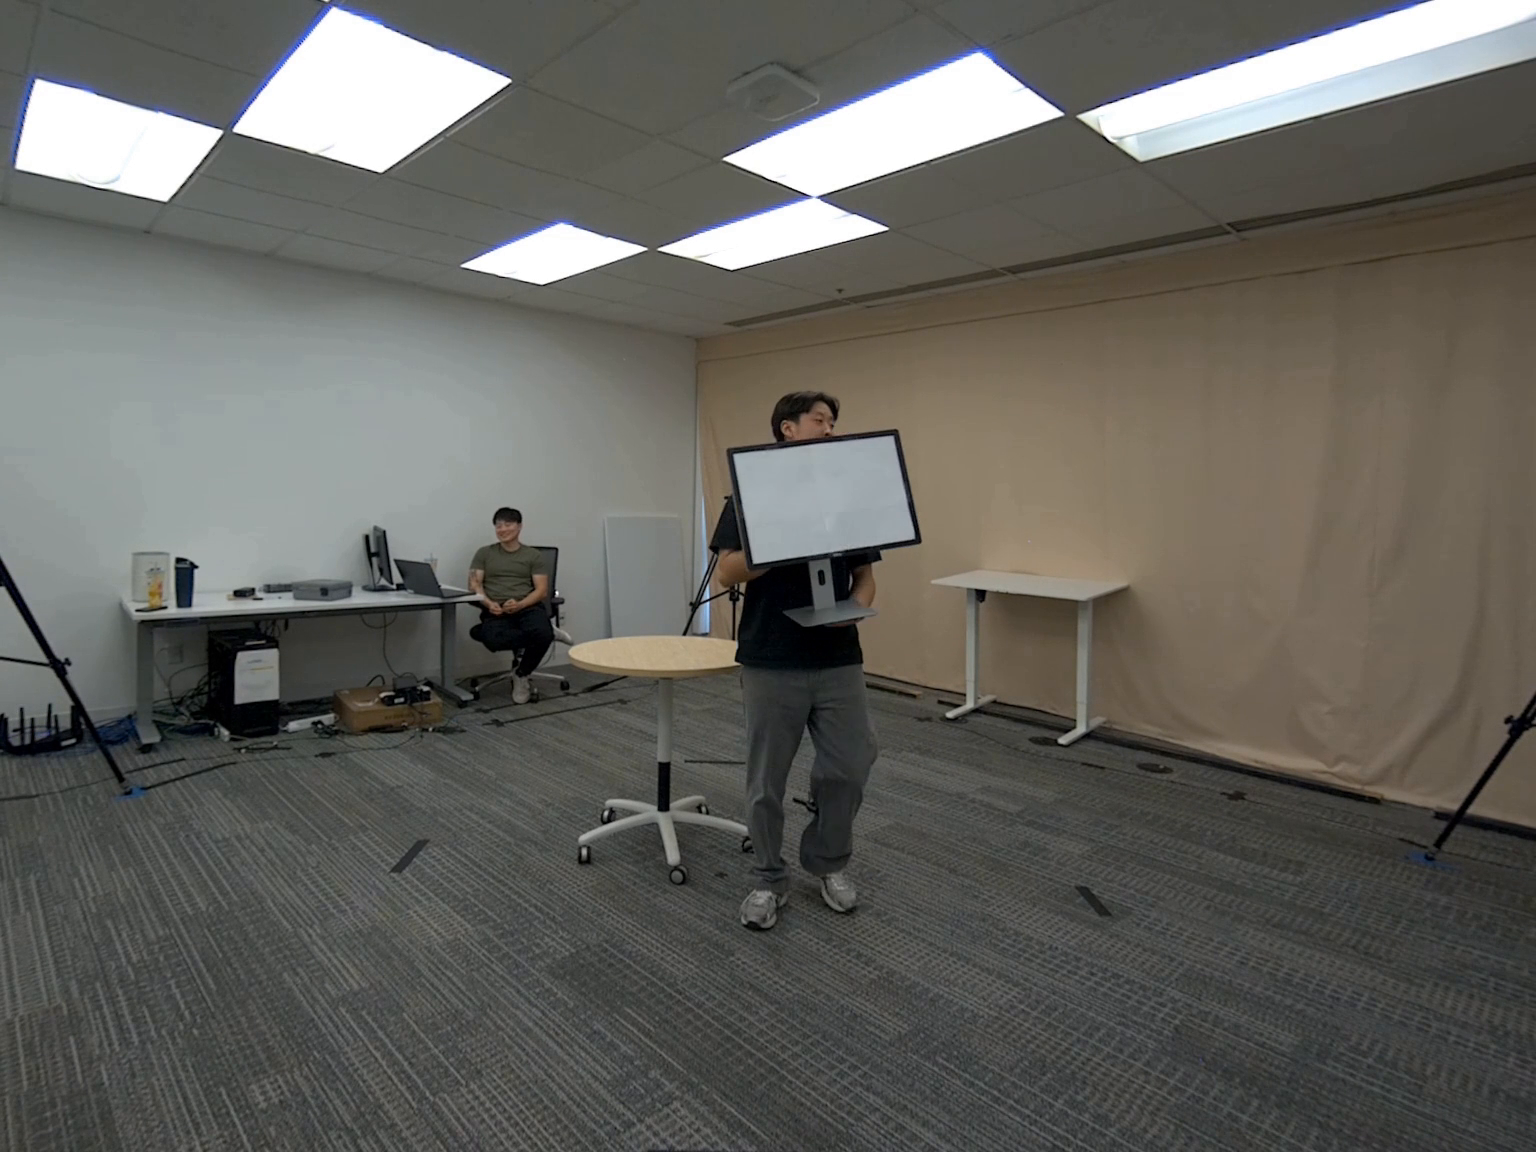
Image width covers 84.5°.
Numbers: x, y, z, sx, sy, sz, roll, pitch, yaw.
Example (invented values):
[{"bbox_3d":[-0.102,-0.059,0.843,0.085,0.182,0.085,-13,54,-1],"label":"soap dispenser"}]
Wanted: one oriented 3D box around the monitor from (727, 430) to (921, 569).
[{"bbox_3d":[0.169,-0.133,2.544,0.557,0.562,0.226,-7,9,-13],"label":"monitor"}]
